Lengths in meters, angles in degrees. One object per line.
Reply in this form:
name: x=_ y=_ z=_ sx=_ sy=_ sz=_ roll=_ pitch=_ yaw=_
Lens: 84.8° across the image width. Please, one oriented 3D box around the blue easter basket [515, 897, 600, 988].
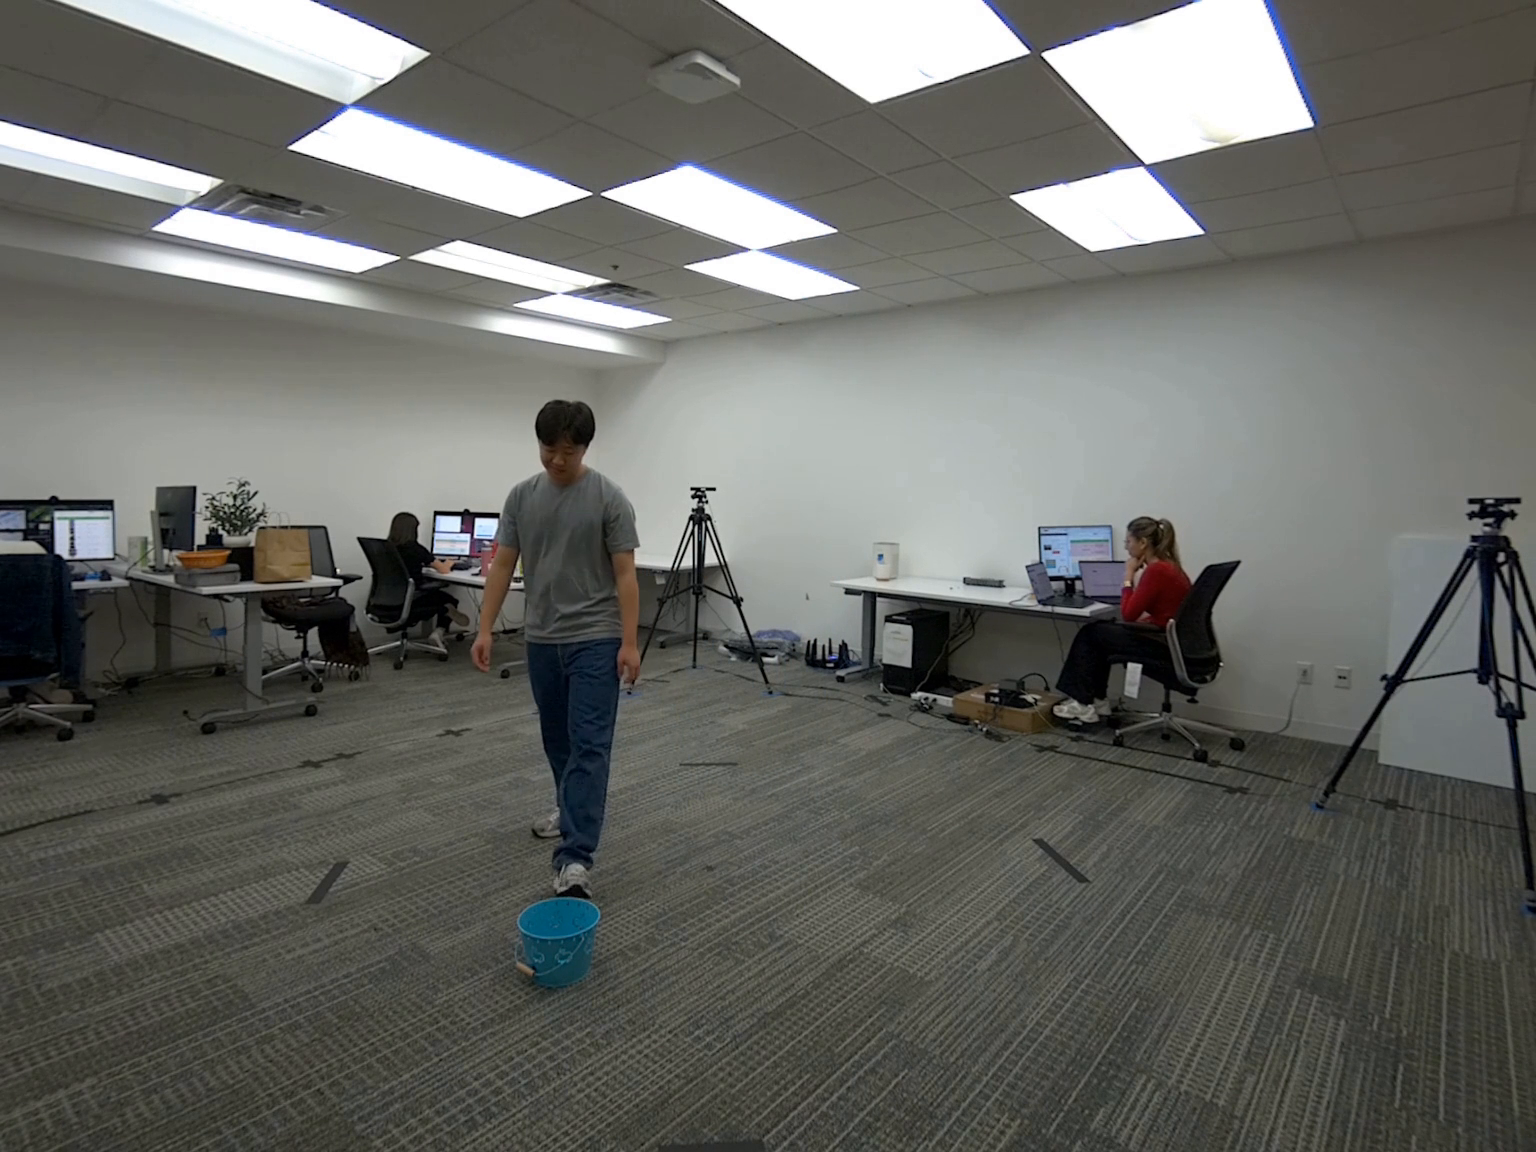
blue easter basket: x=-0.613 y=1.044 z=2.441 sx=0.243 sy=0.155 sz=0.245 roll=1 pitch=4 yaw=-2
